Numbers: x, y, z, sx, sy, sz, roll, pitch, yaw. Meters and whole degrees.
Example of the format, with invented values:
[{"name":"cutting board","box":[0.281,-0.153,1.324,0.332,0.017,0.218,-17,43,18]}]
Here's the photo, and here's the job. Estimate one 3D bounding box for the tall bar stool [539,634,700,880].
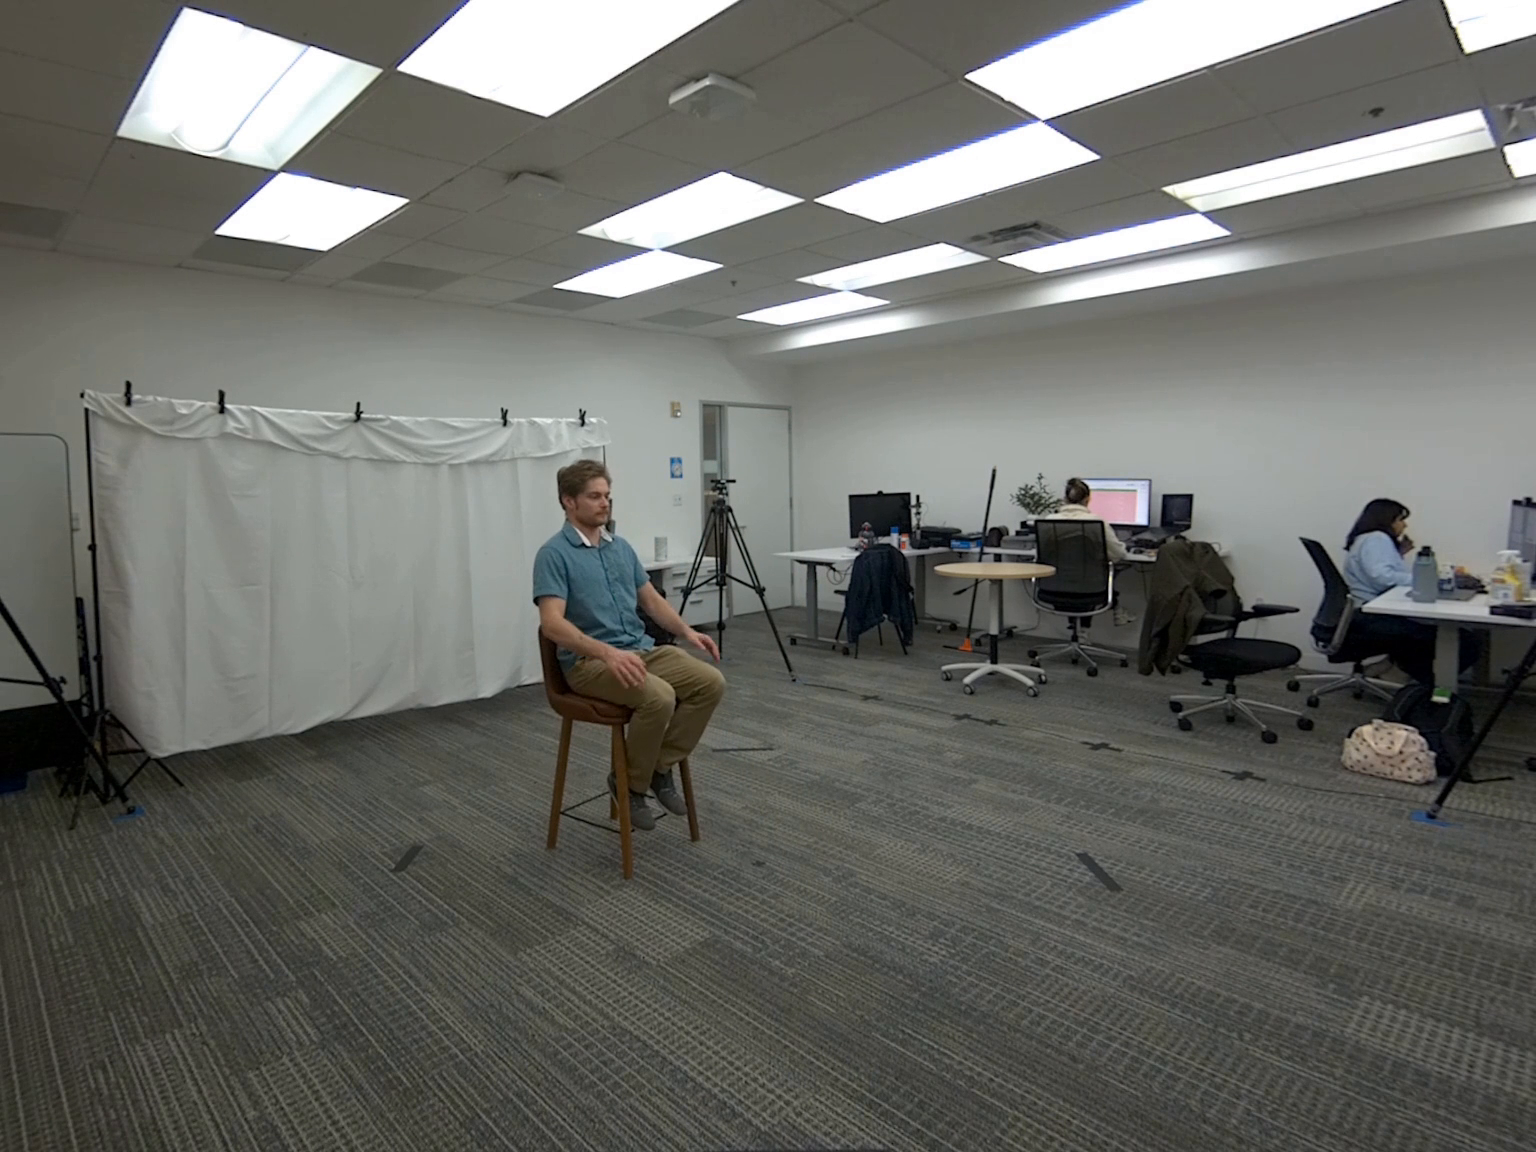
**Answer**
[{"name":"tall bar stool","box":[-0.580,0.601,3.284,0.480,0.888,0.445,-1,2,36]}]
